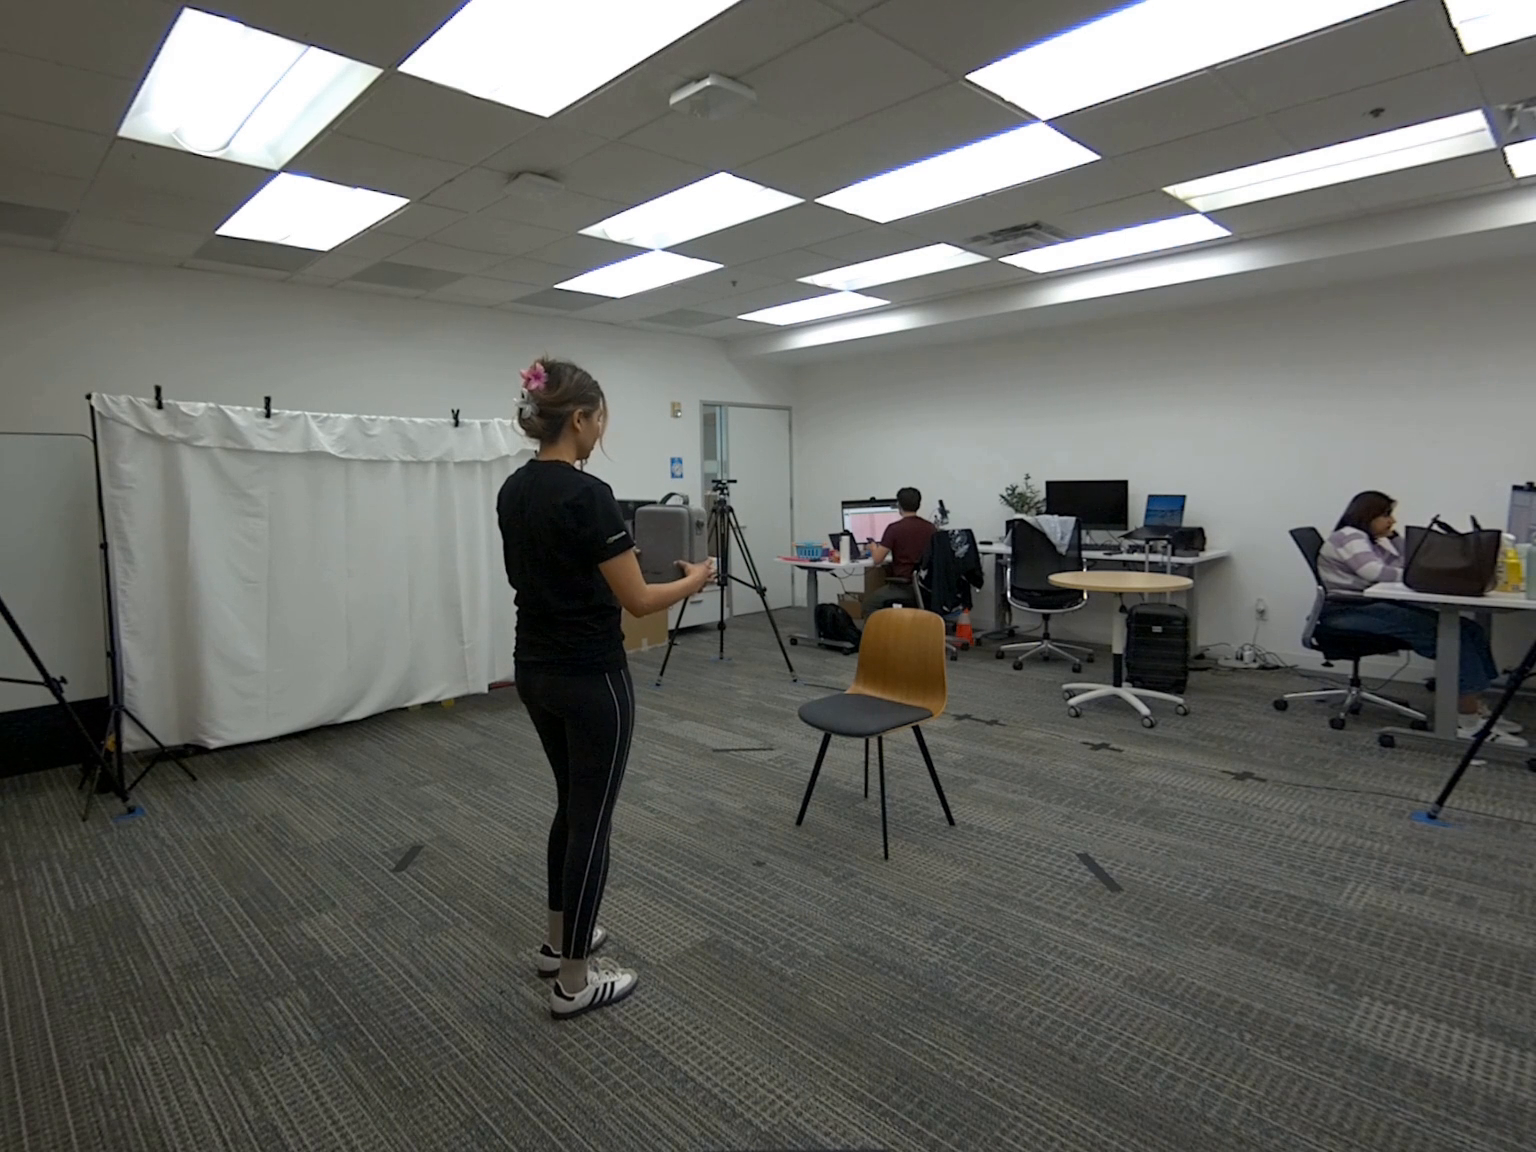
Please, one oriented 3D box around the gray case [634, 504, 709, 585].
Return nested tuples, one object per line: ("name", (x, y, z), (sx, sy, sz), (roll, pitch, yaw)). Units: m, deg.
("gray case", (-0.292, -0.090, 2.580), (0.101, 0.260, 0.265), (-2, 5, -42))
